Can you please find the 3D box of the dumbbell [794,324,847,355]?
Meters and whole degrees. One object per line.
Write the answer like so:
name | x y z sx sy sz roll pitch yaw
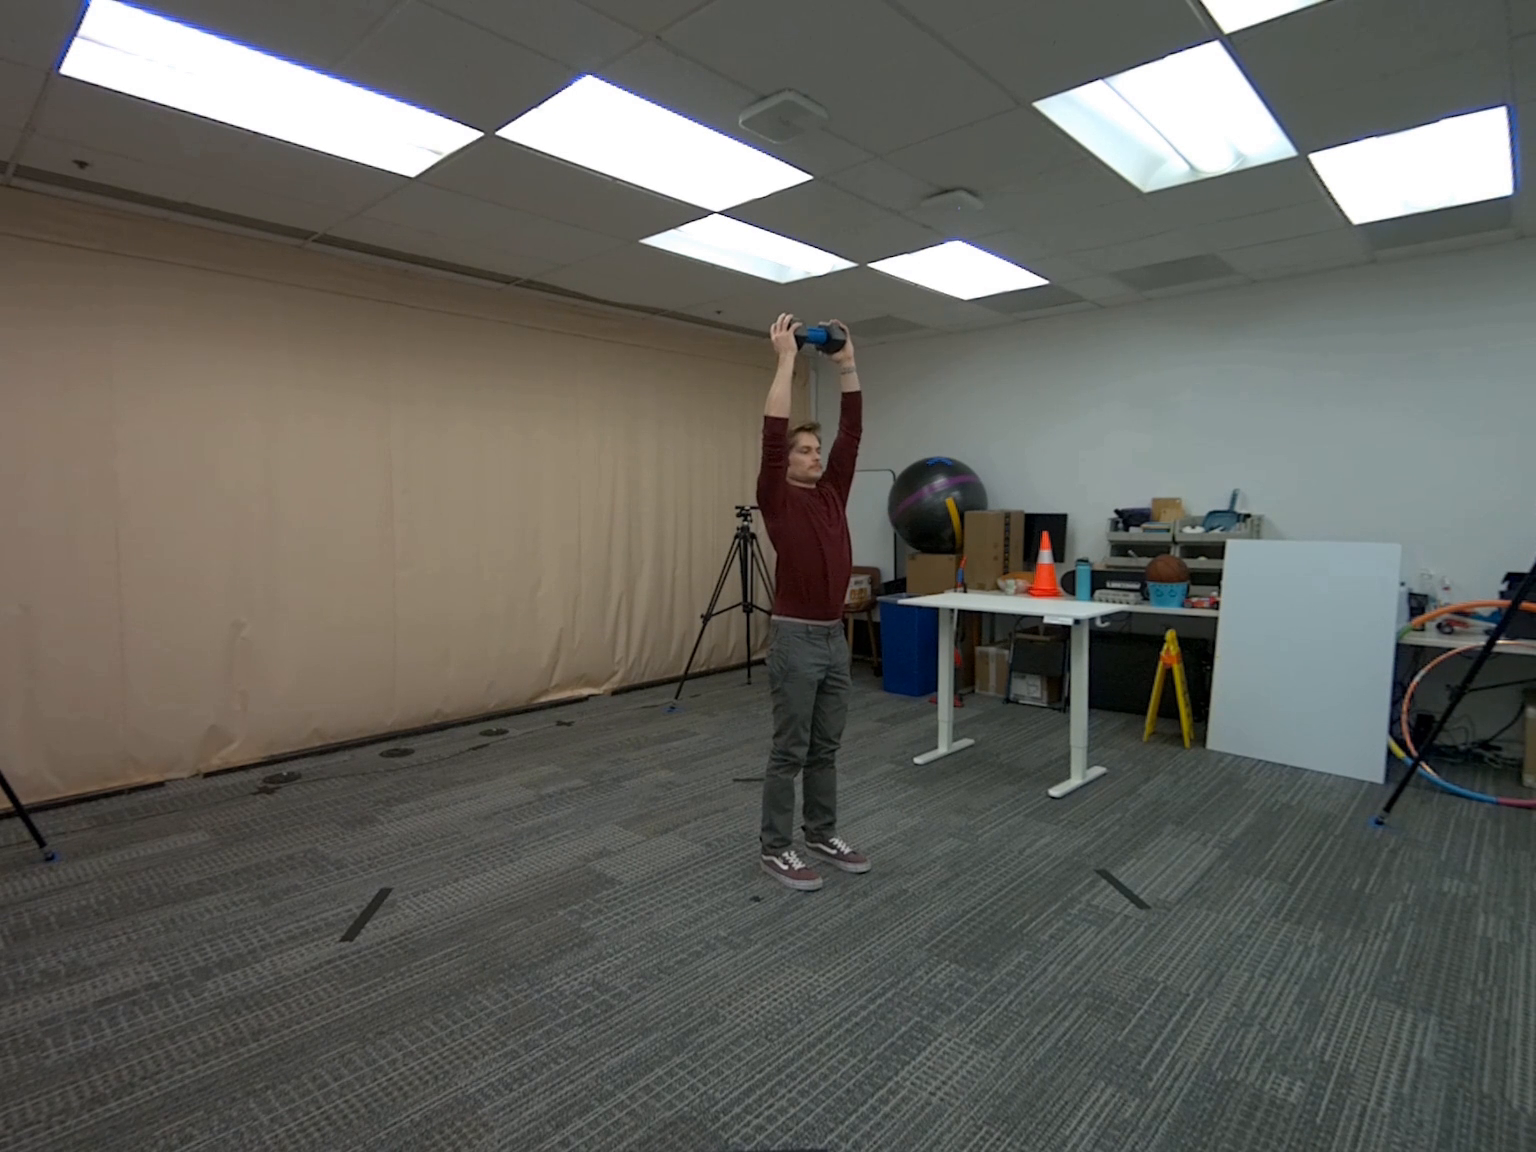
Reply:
dumbbell | 0.168 -0.877 3.110 0.285 0.123 0.111 -10 -6 -41
